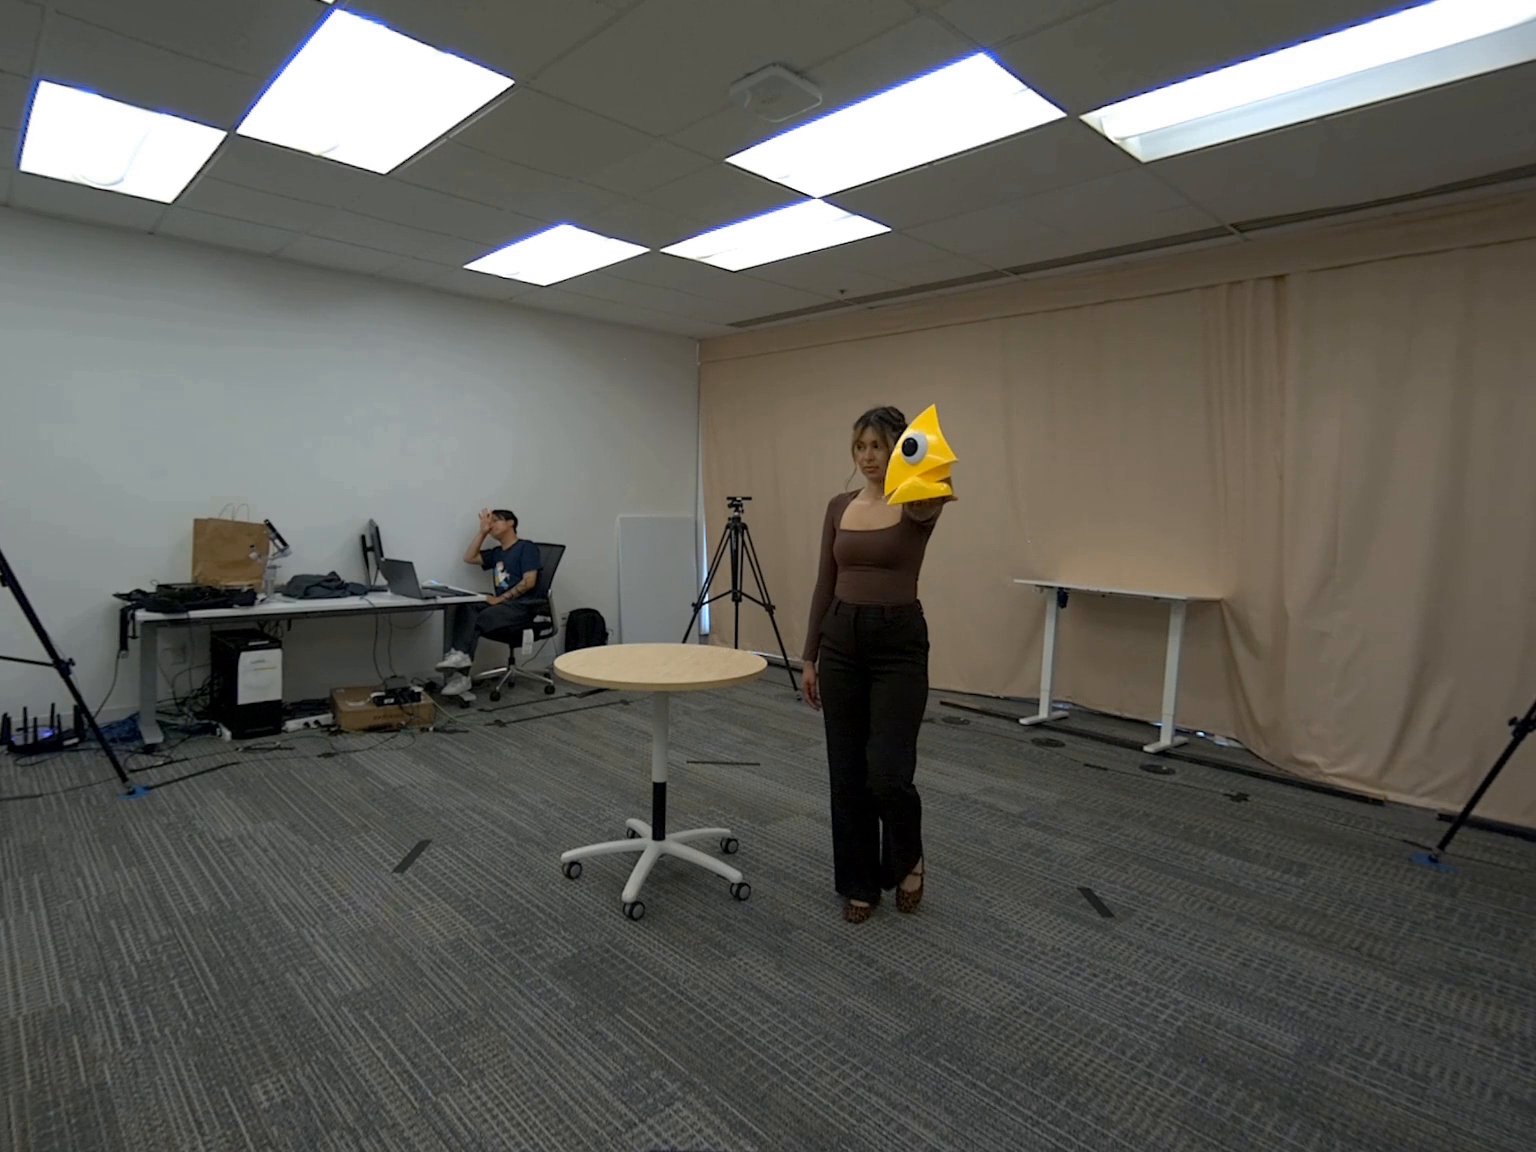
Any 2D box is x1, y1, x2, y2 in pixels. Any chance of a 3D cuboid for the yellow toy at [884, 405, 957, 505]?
[{"bbox_3d":[0.366,-0.304,2.107,0.195,0.230,0.203,-9,1,16],"label":"yellow toy"}]
